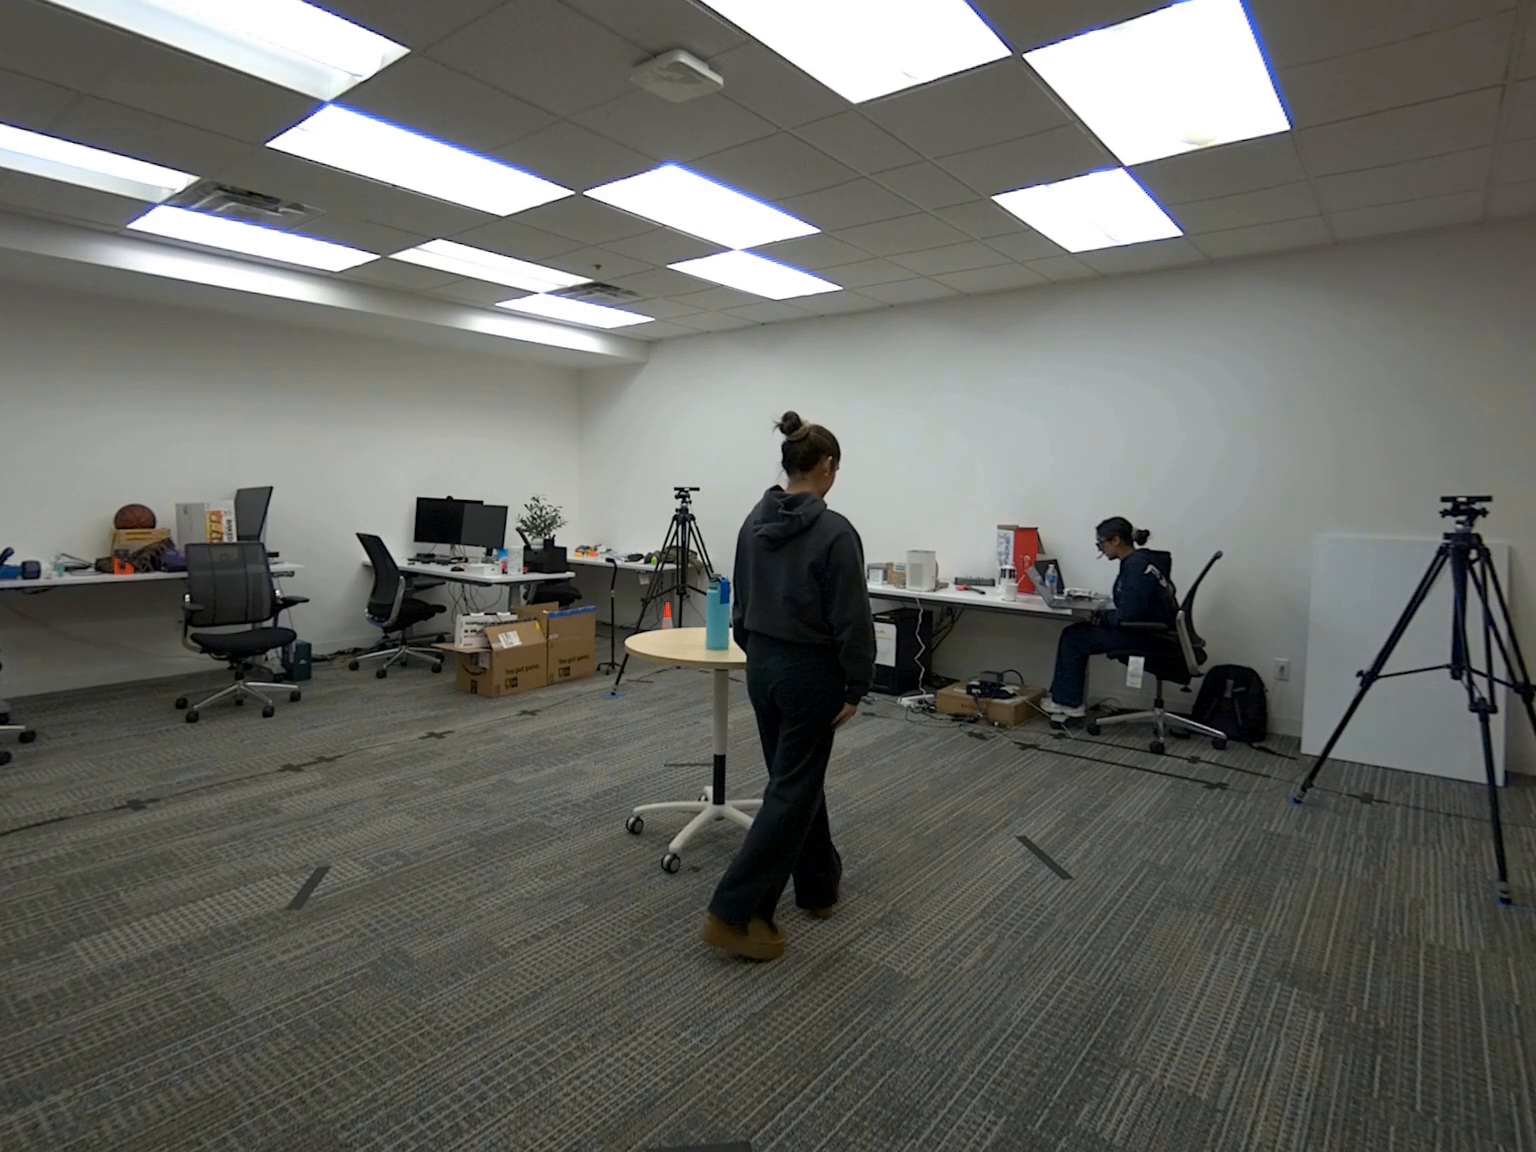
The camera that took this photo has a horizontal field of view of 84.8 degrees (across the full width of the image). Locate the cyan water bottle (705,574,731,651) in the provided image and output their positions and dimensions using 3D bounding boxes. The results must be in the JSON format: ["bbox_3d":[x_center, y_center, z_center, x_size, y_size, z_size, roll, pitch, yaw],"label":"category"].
[{"bbox_3d":[-0.194,0.134,3.227,0.092,0.282,0.093,0,4,-2],"label":"cyan water bottle"}]
